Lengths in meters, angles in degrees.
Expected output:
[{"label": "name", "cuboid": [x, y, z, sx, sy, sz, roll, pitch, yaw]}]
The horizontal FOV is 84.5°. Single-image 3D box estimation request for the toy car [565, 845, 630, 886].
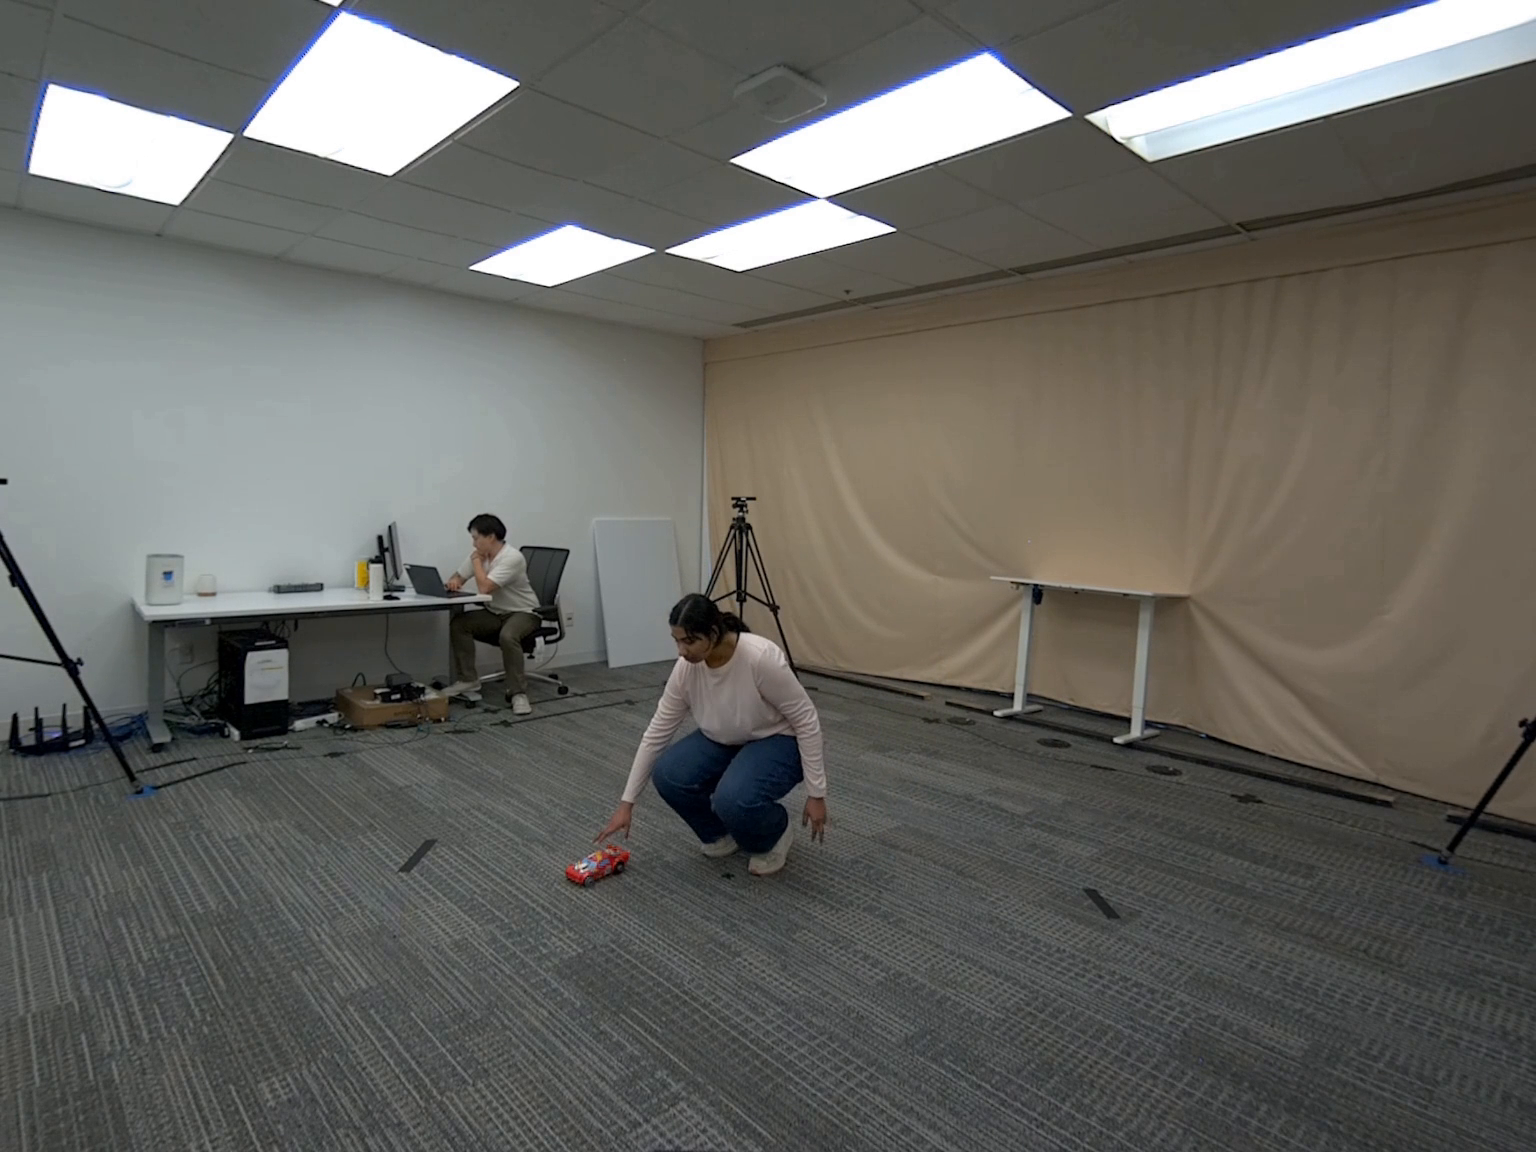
[{"label": "toy car", "cuboid": [-0.622, 1.058, 3.094, 0.133, 0.082, 0.251, 4, 16, 39]}]
